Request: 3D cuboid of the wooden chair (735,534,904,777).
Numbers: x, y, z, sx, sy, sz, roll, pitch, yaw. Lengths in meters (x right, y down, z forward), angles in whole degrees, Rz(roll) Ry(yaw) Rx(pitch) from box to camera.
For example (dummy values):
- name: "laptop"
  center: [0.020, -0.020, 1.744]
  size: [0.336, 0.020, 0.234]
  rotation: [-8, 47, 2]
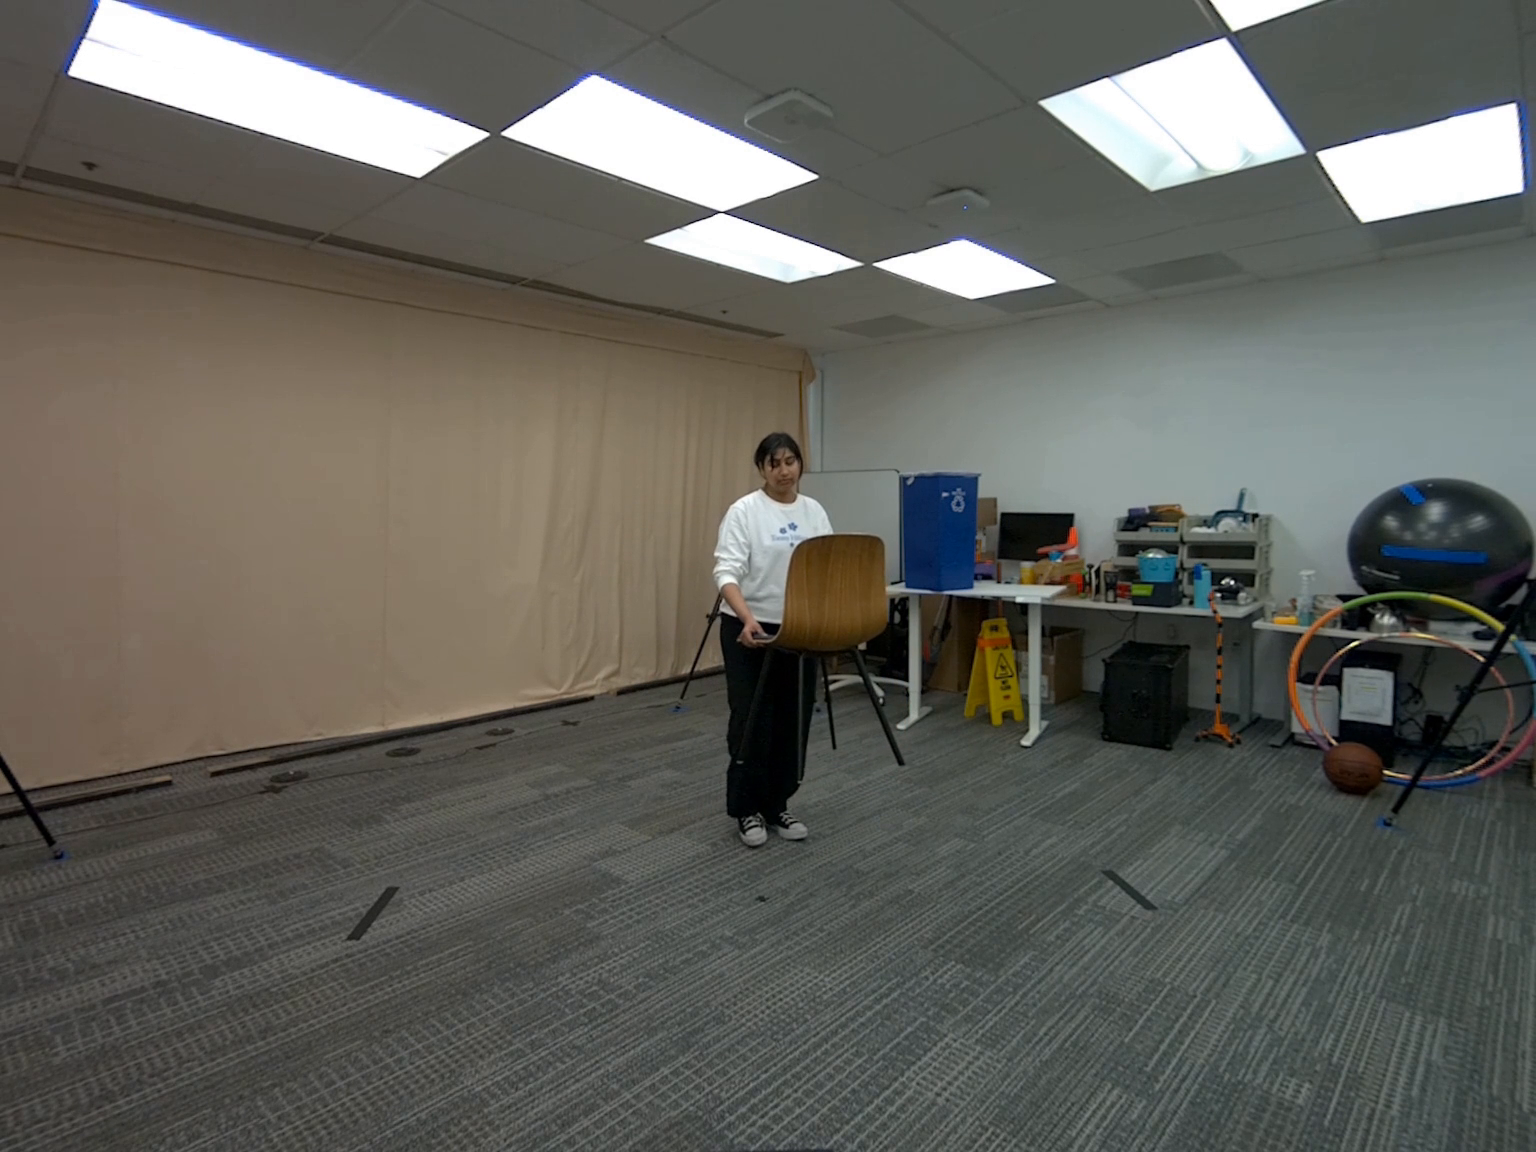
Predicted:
- name: "wooden chair"
  center: [0.170, 0.285, 3.187]
  size: [0.466, 0.877, 0.537]
  rotation: [-1, 1, -28]
